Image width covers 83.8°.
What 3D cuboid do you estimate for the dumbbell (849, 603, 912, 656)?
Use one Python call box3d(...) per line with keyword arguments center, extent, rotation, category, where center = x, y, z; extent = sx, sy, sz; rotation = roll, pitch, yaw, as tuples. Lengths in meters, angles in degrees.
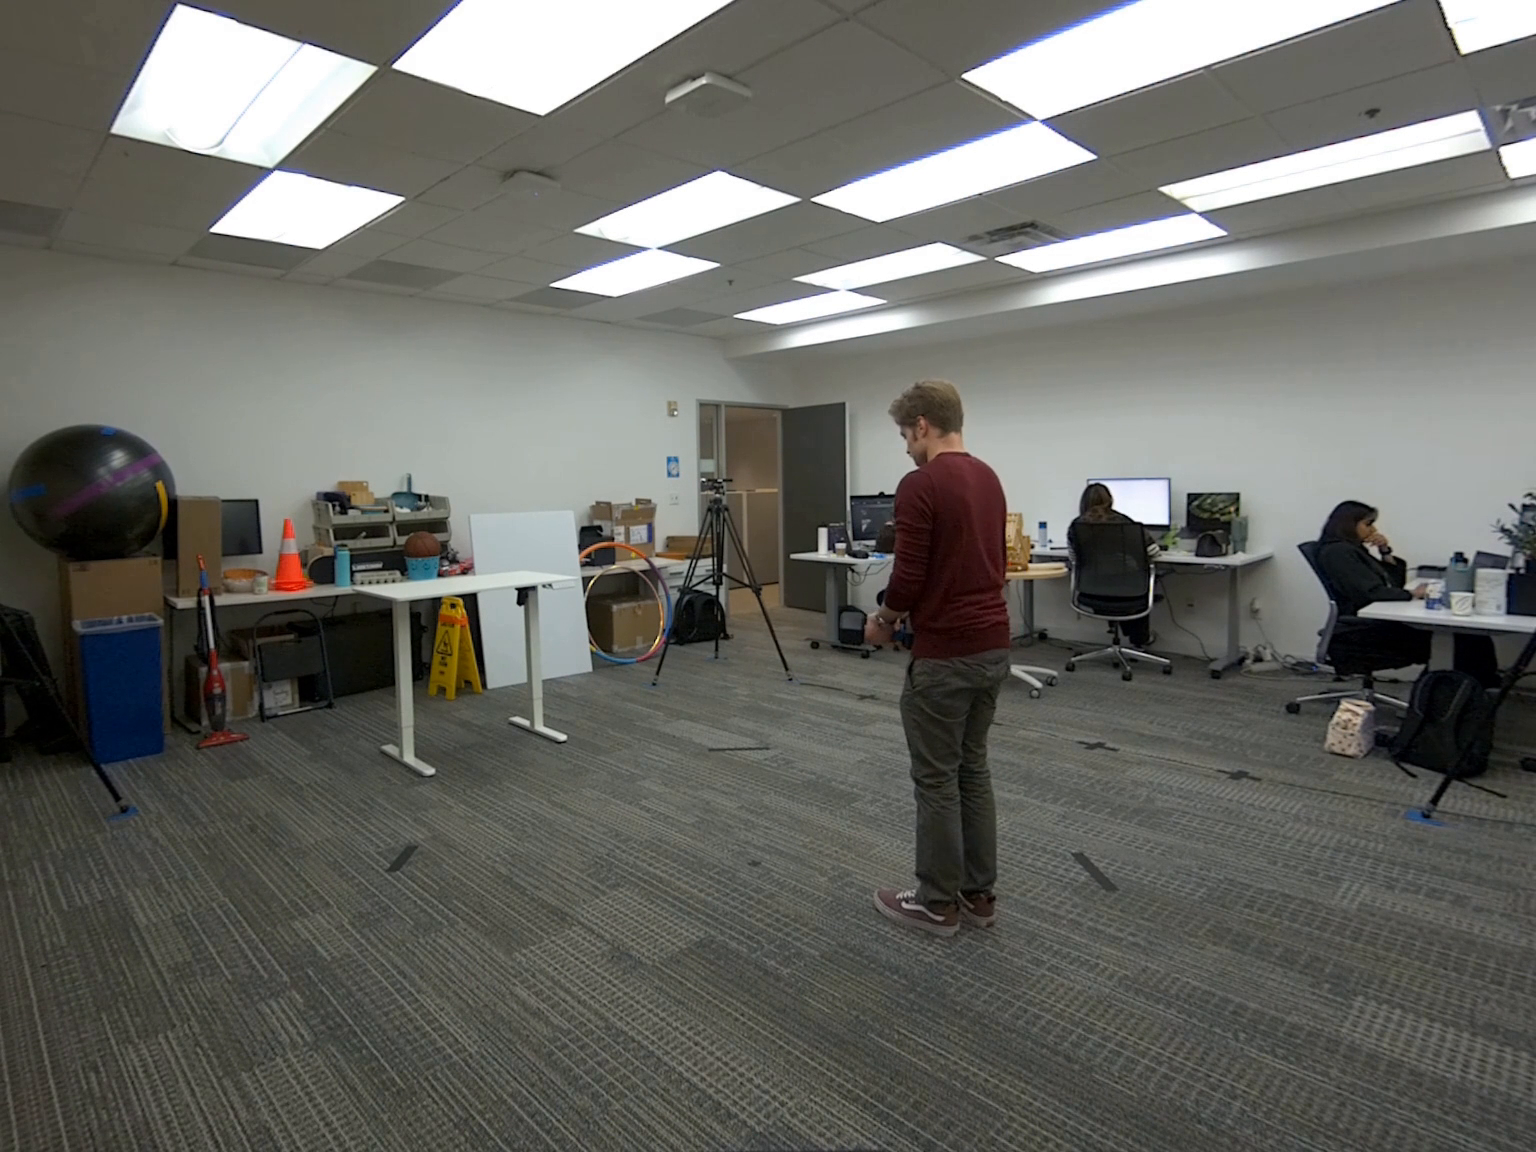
box3d(center=(0.417, 0.177, 2.821), extent=(0.295, 0.126, 0.105), rotation=(2, -36, 6), category="dumbbell")
